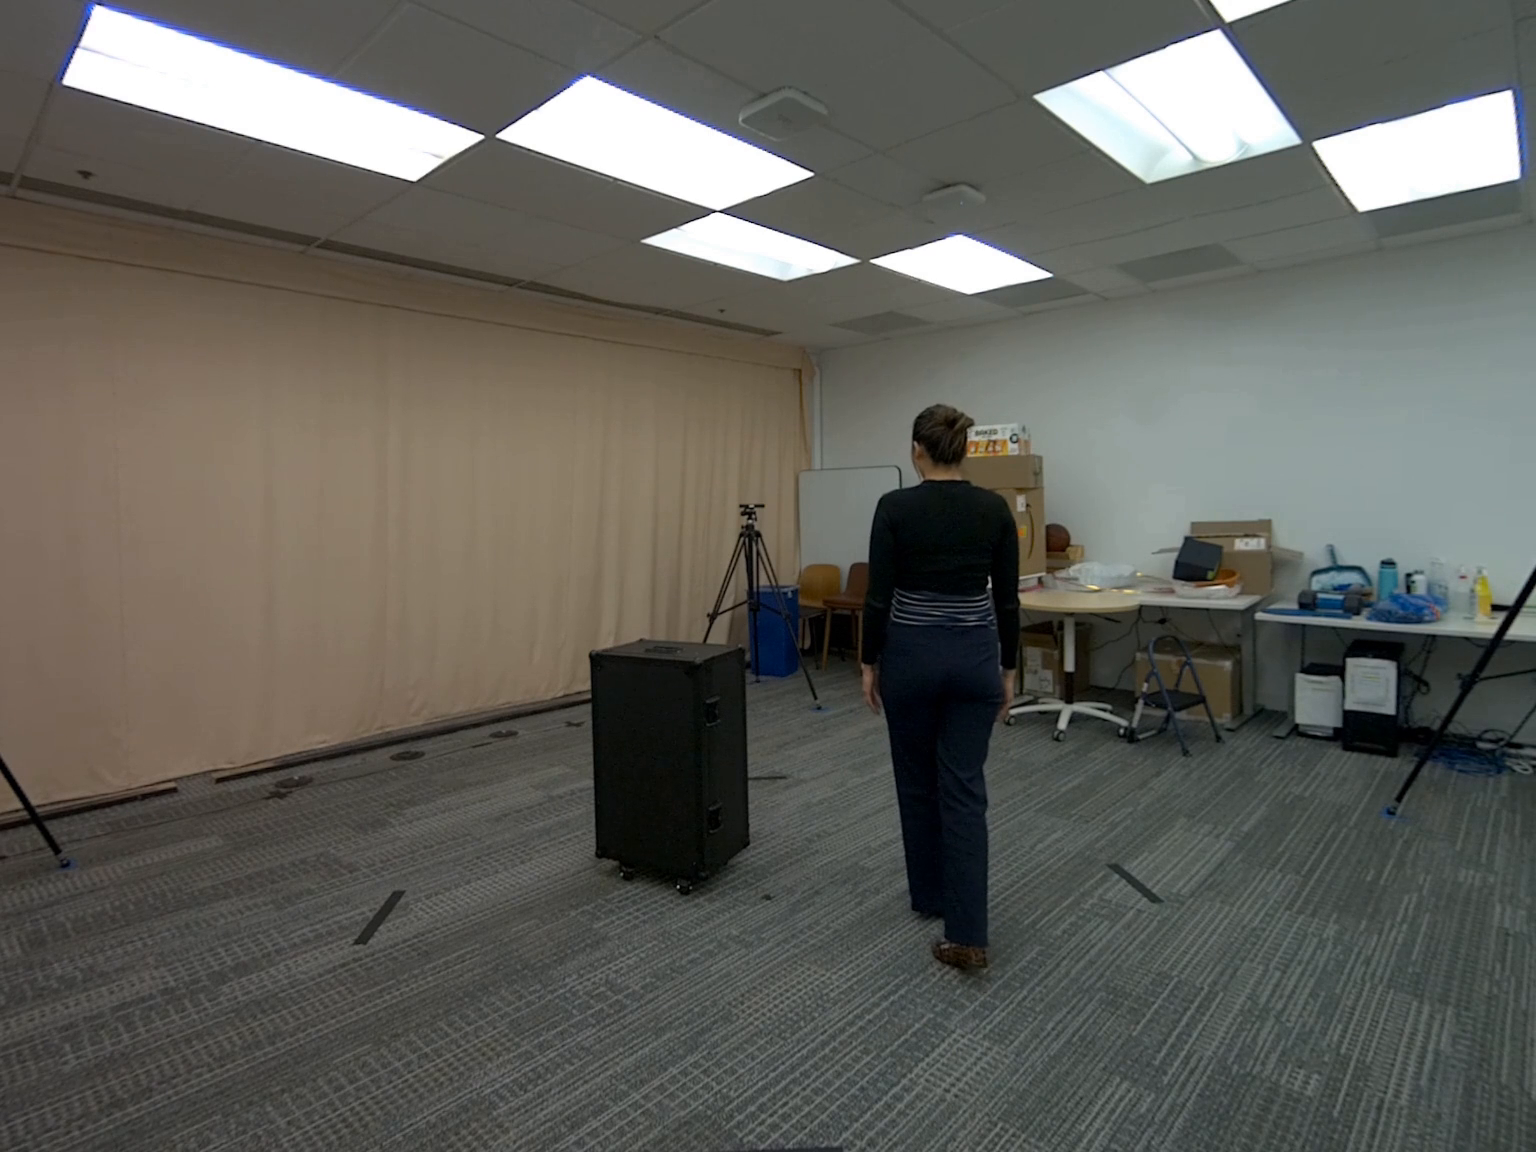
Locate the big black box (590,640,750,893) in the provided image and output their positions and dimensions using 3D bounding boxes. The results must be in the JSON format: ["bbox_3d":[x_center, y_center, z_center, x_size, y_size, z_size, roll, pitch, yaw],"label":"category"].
[{"bbox_3d":[-0.371,0.702,3.225,0.536,0.860,0.386,1,2,28],"label":"big black box"}]
